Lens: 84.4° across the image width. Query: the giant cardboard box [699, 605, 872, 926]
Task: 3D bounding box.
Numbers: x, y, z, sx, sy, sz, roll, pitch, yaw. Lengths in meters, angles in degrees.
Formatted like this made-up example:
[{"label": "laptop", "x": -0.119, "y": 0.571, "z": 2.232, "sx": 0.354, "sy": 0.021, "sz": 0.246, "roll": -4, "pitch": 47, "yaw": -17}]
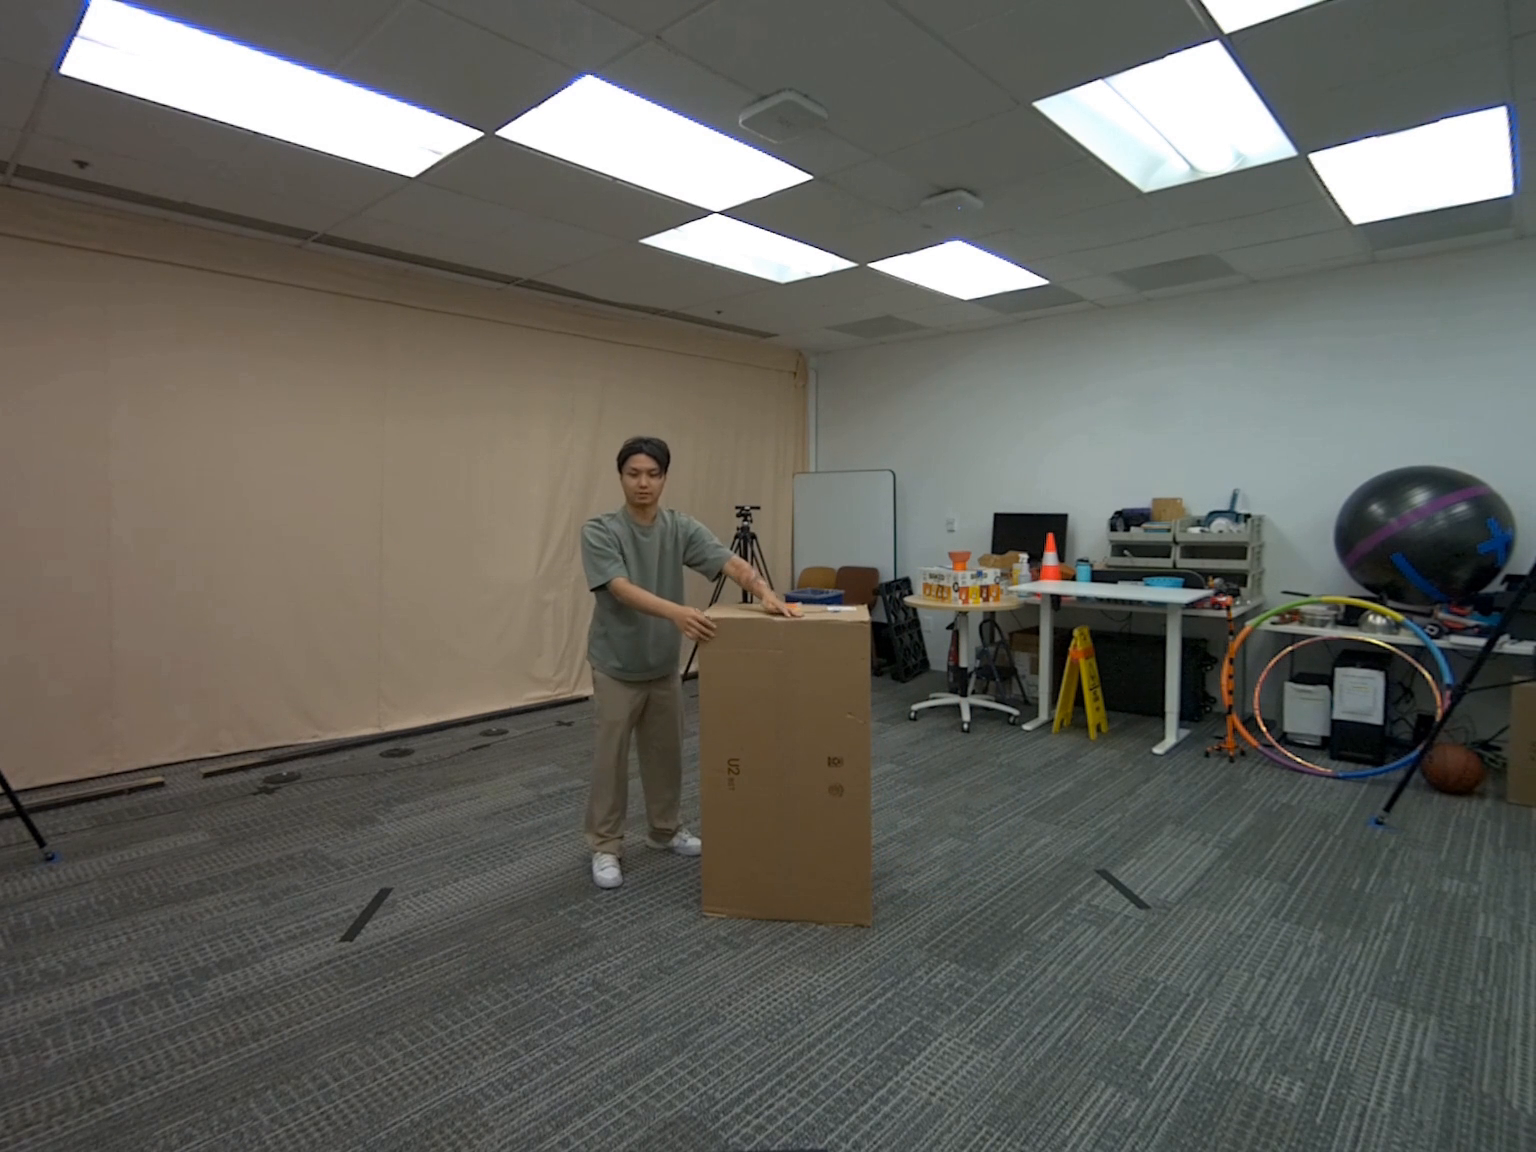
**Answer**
[{"label": "giant cardboard box", "x": 0.080, "y": 0.632, "z": 3.005, "sx": 0.582, "sy": 1.024, "sz": 0.424, "roll": 0, "pitch": 3, "yaw": 6}]
